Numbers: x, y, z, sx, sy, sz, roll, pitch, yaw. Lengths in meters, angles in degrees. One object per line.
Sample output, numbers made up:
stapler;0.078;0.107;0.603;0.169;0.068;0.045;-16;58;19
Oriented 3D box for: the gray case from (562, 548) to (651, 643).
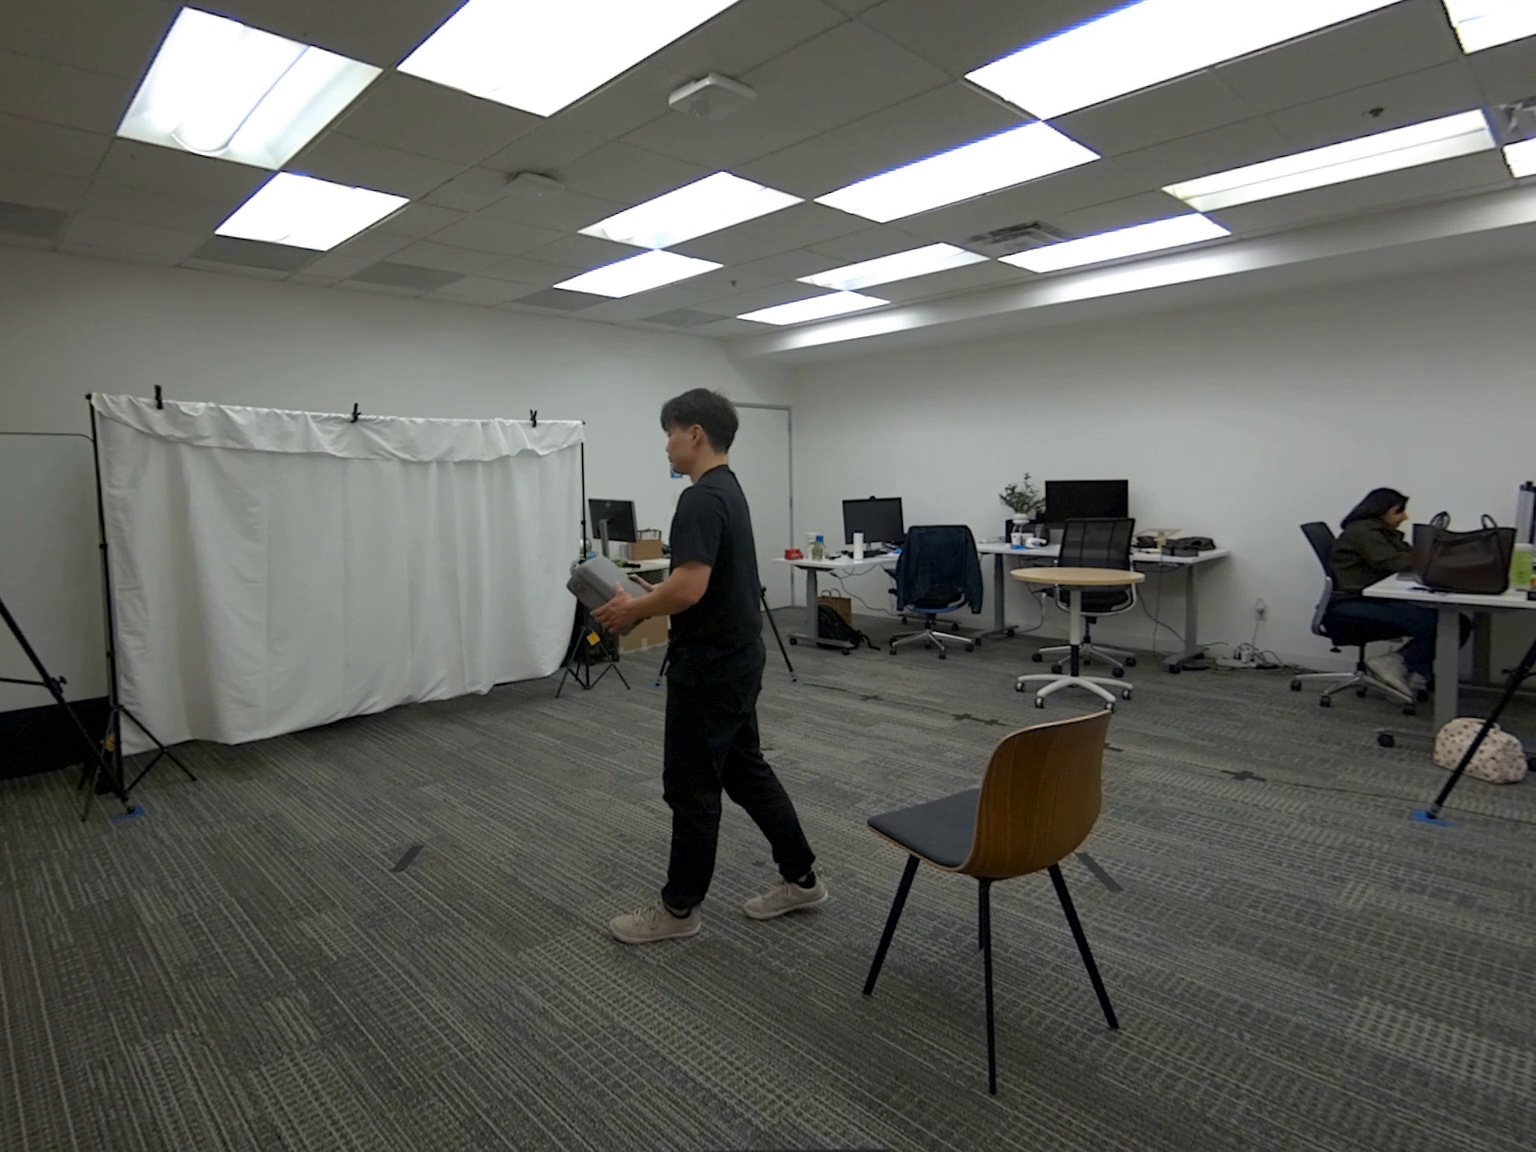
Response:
gray case;-0.475;0.053;2.675;0.261;0.104;0.257;41;9;-1
